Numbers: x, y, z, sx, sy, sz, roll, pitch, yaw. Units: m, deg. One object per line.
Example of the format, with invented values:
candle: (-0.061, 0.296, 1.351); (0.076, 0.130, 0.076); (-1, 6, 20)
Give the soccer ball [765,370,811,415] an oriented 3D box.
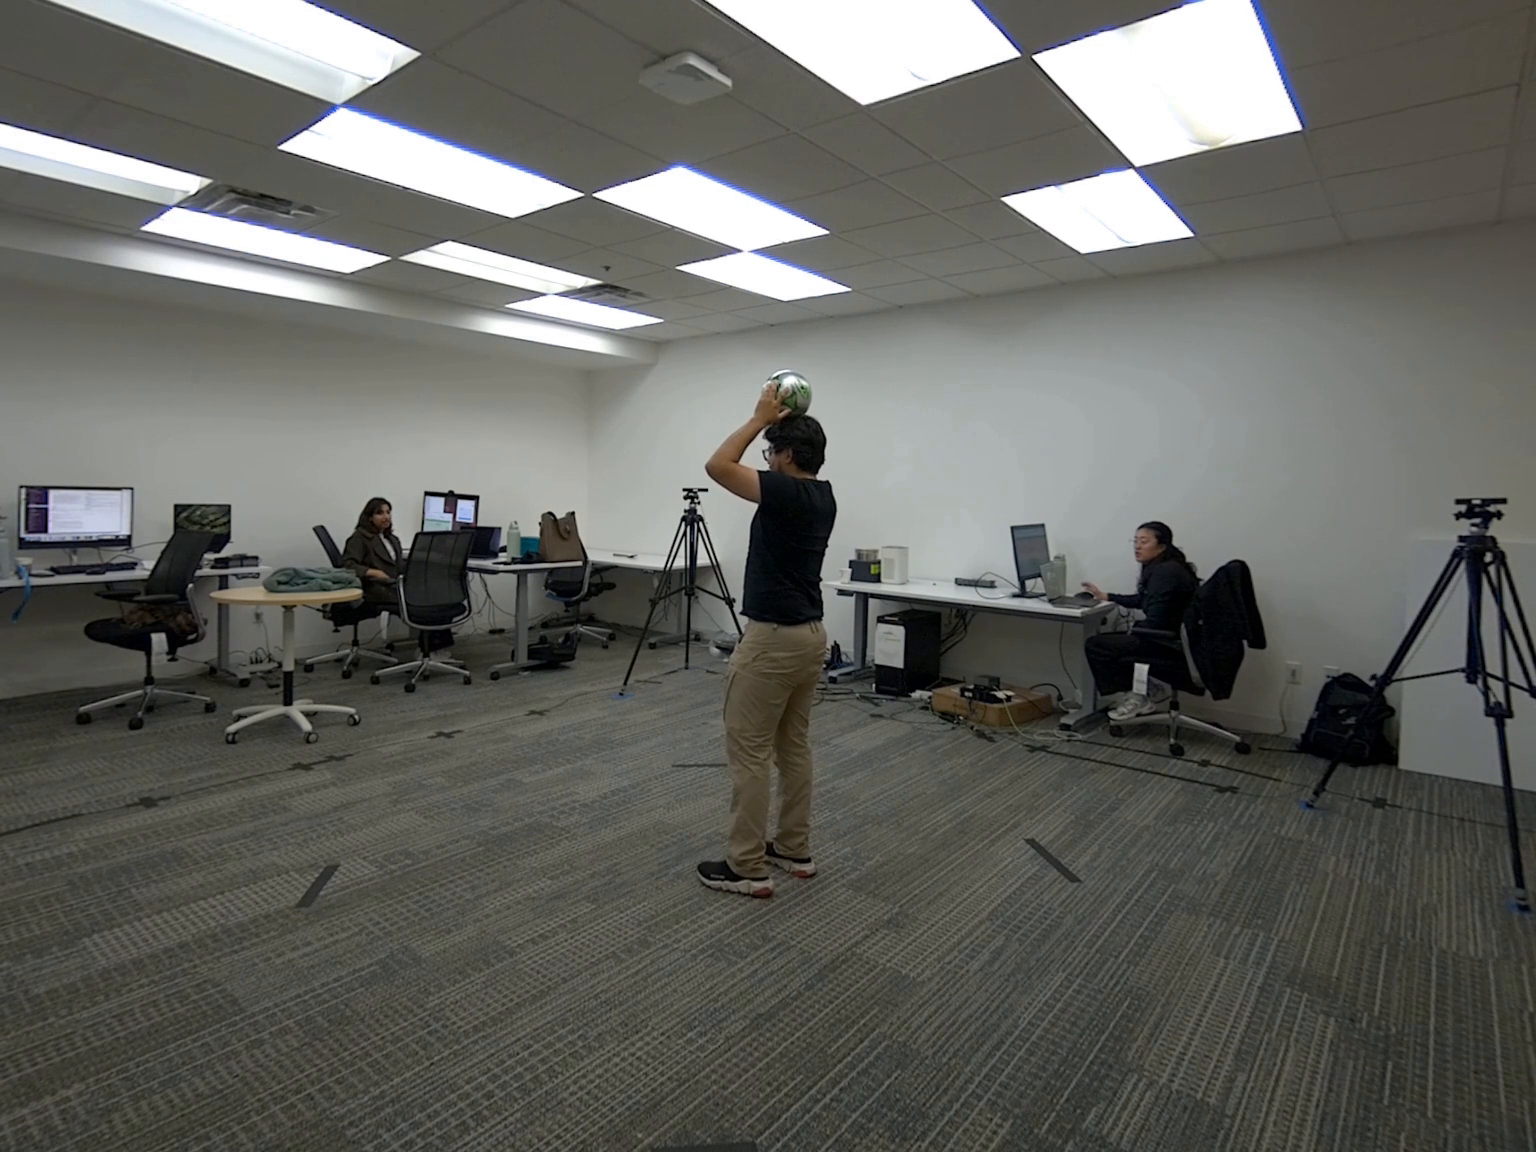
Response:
soccer ball: (0.057, -0.660, 3.125); (0.187, 0.187, 0.188); (1, 4, -2)
